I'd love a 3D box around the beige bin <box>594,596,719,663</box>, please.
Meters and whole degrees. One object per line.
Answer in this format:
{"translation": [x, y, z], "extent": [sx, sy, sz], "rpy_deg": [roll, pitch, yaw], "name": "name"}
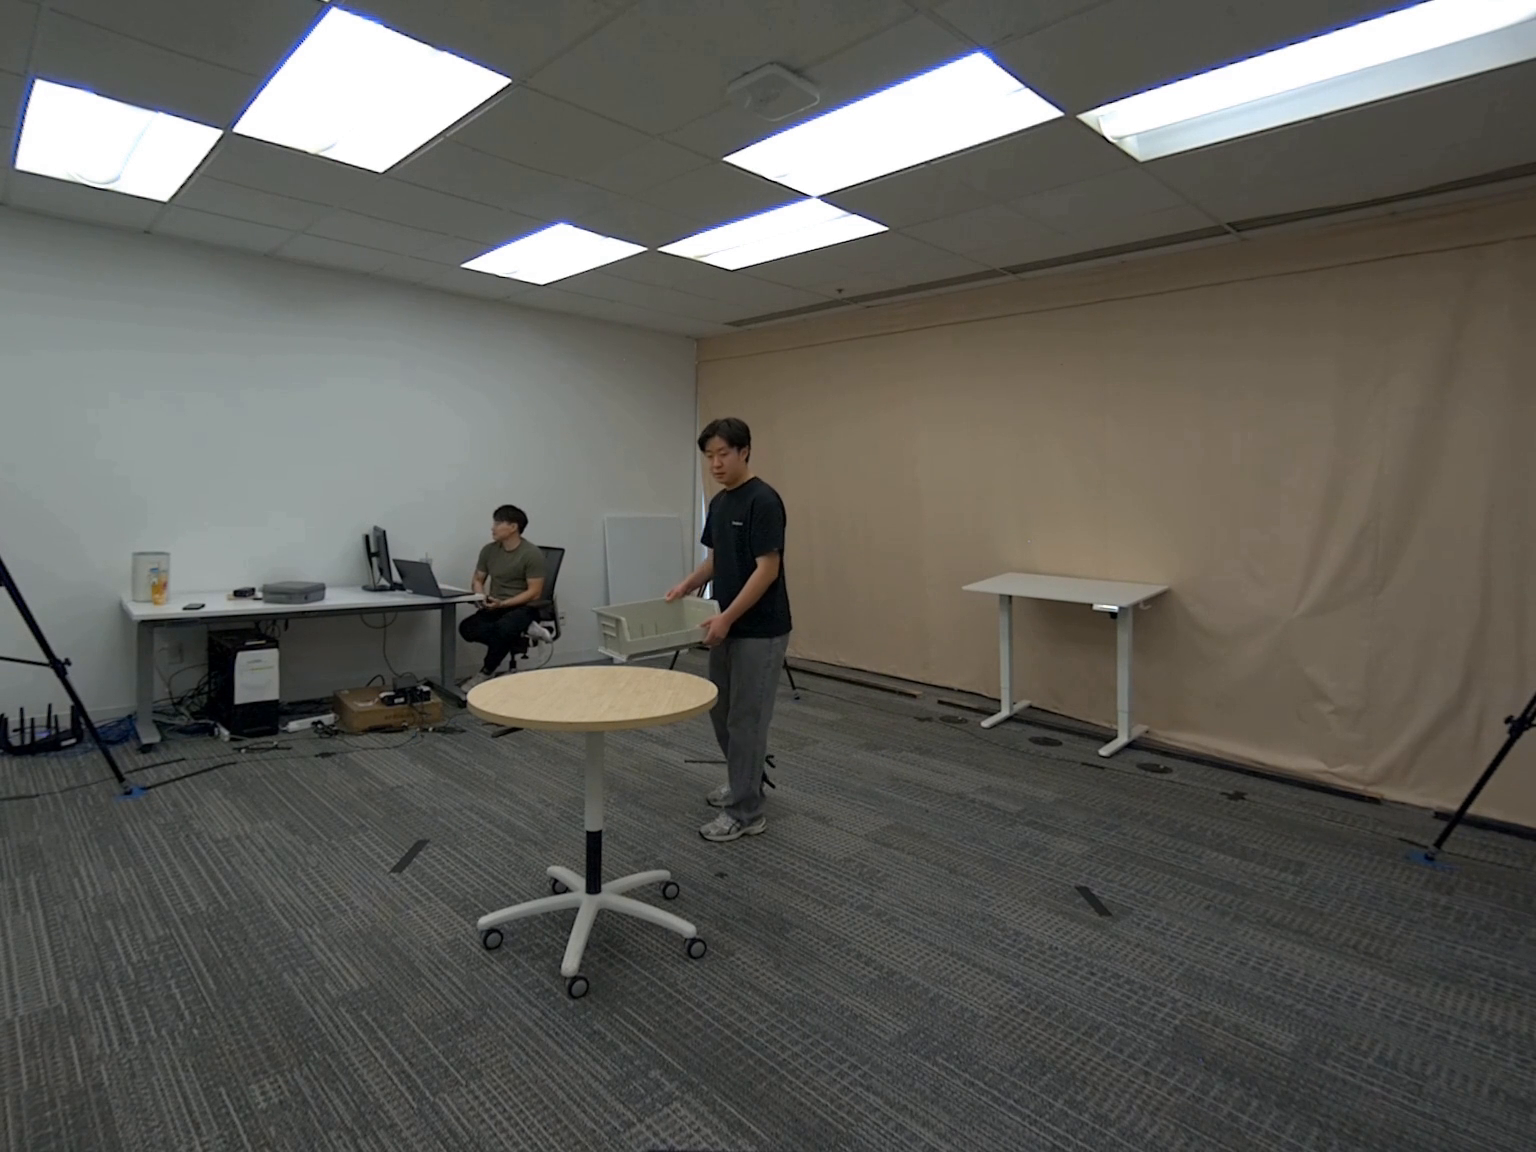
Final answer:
{"translation": [-0.456, 0.216, 3.442], "extent": [0.415, 0.188, 0.385], "rpy_deg": [-8, 6, -28], "name": "beige bin"}
